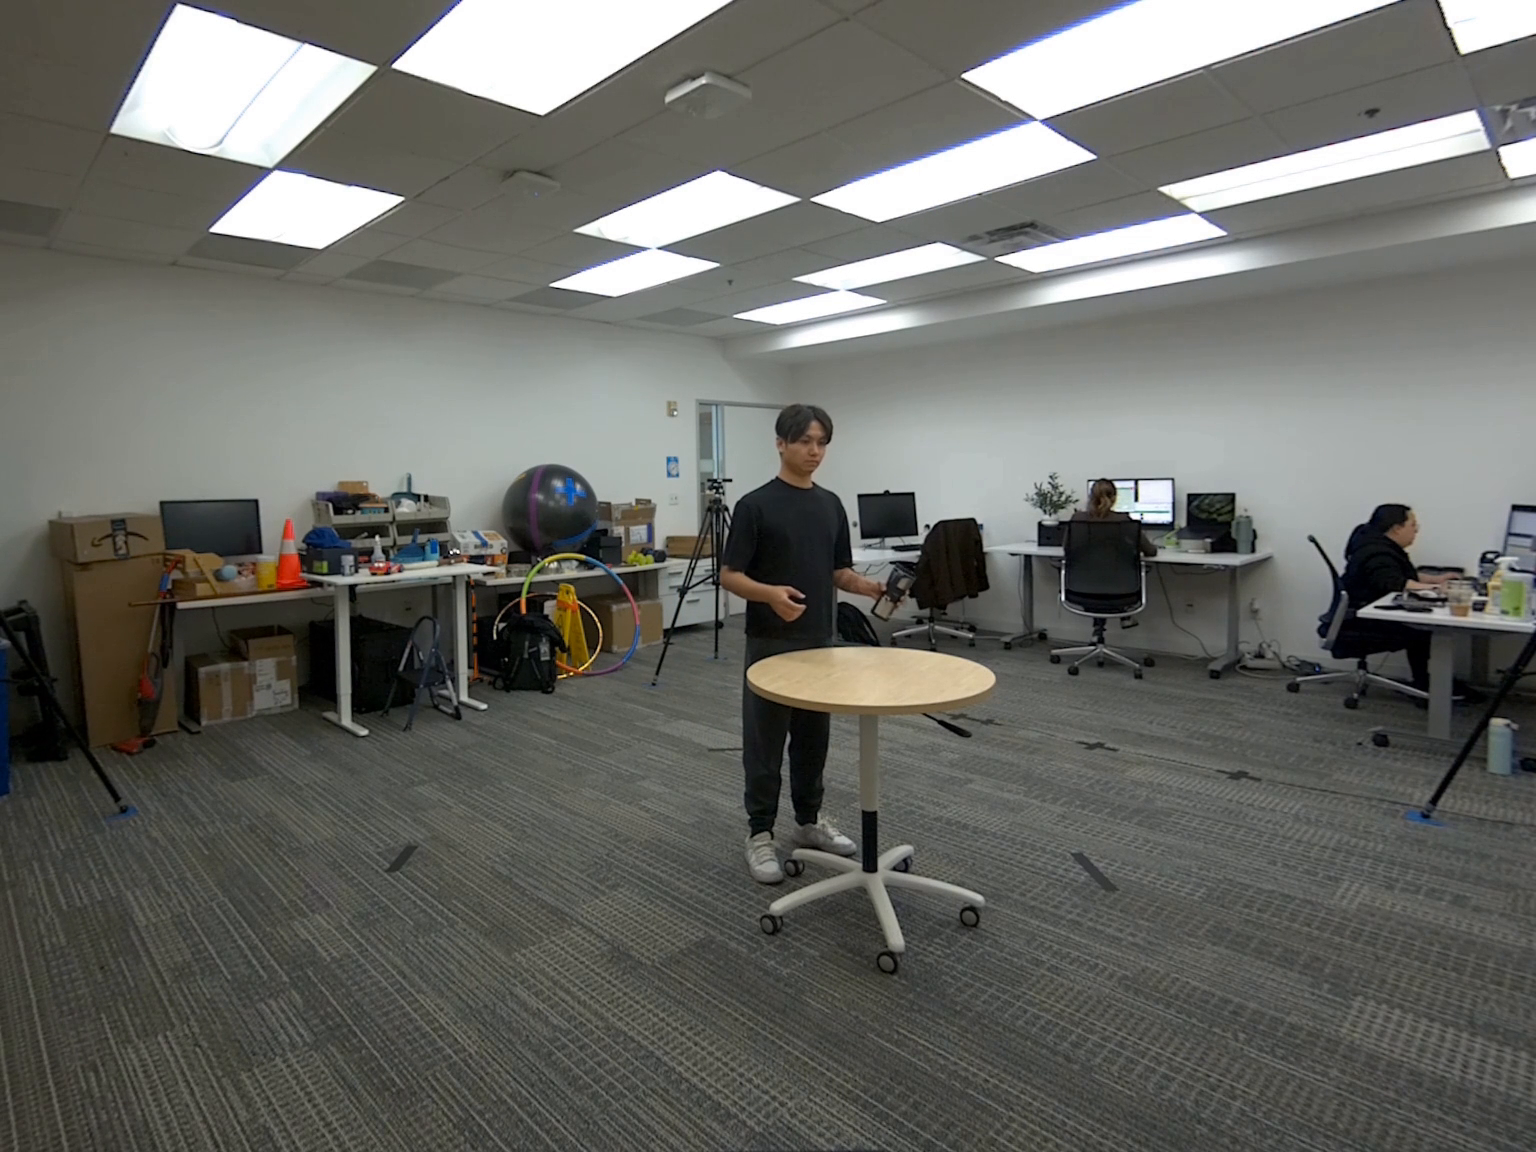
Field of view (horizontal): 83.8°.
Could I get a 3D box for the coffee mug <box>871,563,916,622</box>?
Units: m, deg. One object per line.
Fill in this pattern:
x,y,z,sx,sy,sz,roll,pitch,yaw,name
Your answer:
0.423,0.054,3.029,0.091,0.202,0.117,39,9,37,coffee mug
